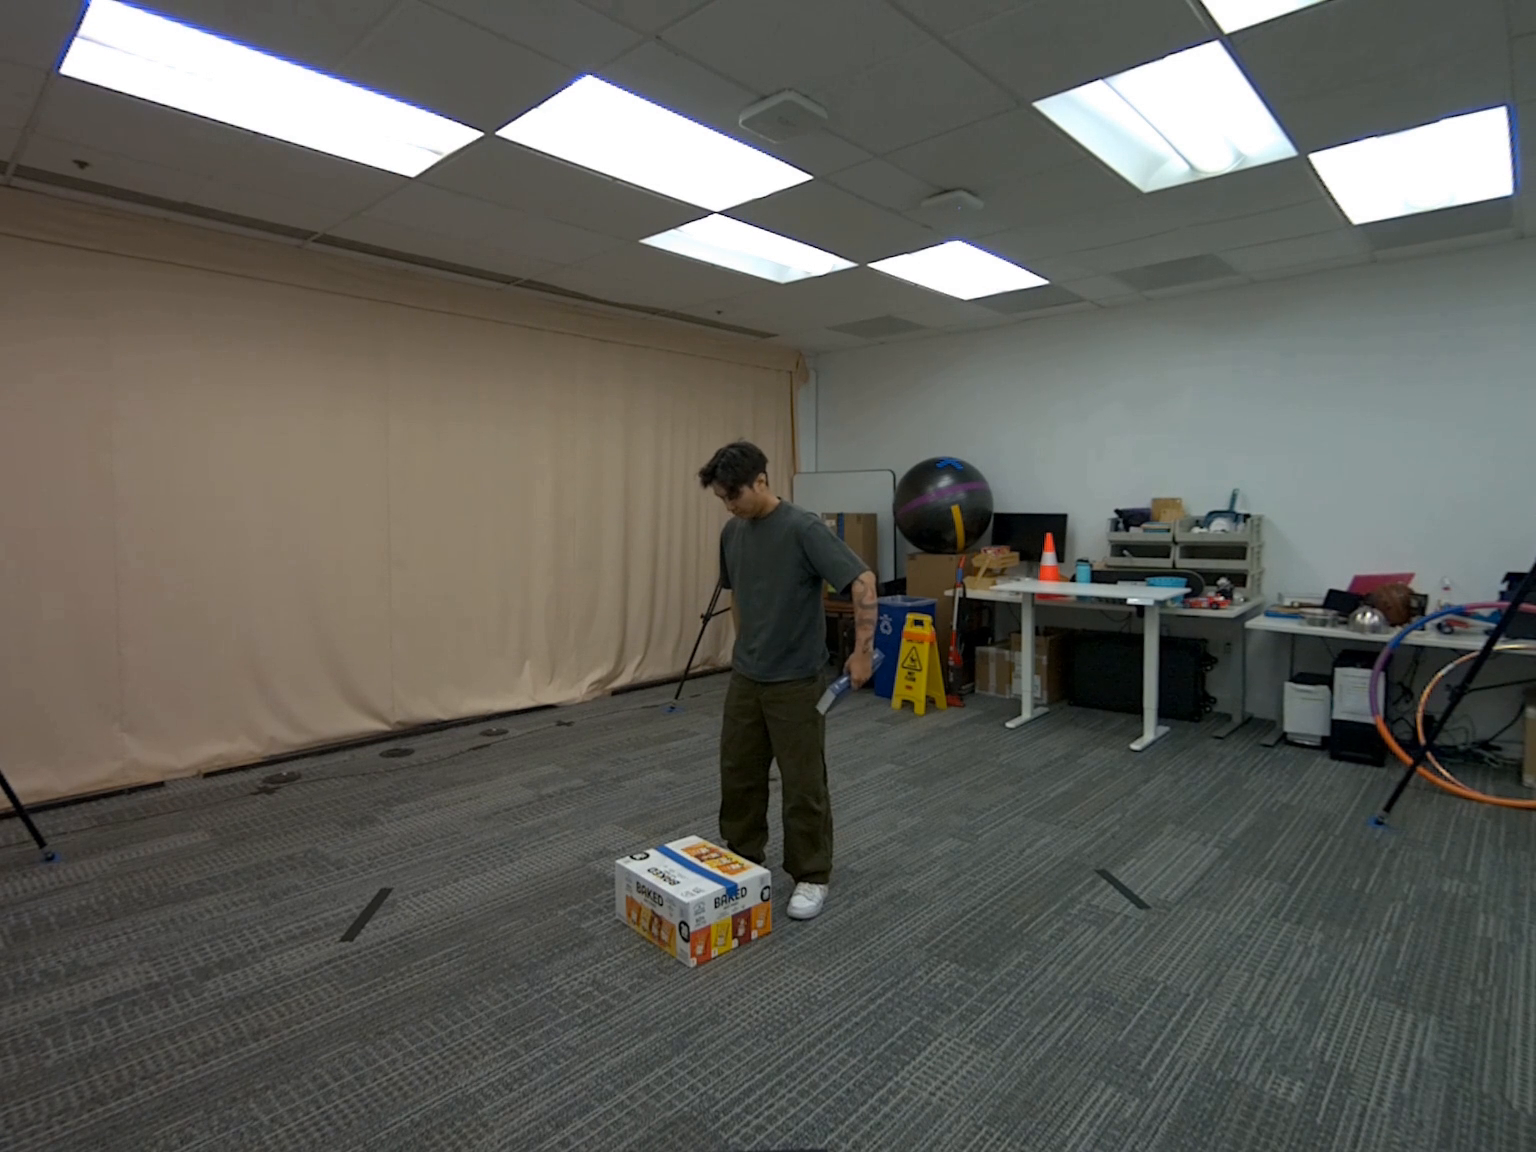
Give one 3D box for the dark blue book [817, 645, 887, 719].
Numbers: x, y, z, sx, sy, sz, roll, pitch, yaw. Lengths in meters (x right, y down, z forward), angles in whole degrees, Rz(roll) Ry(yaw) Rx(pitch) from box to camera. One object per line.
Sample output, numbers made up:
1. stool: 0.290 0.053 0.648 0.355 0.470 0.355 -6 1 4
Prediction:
1. dark blue book: 0.271 0.349 2.799 0.241 0.046 0.162 -35 -21 -31
